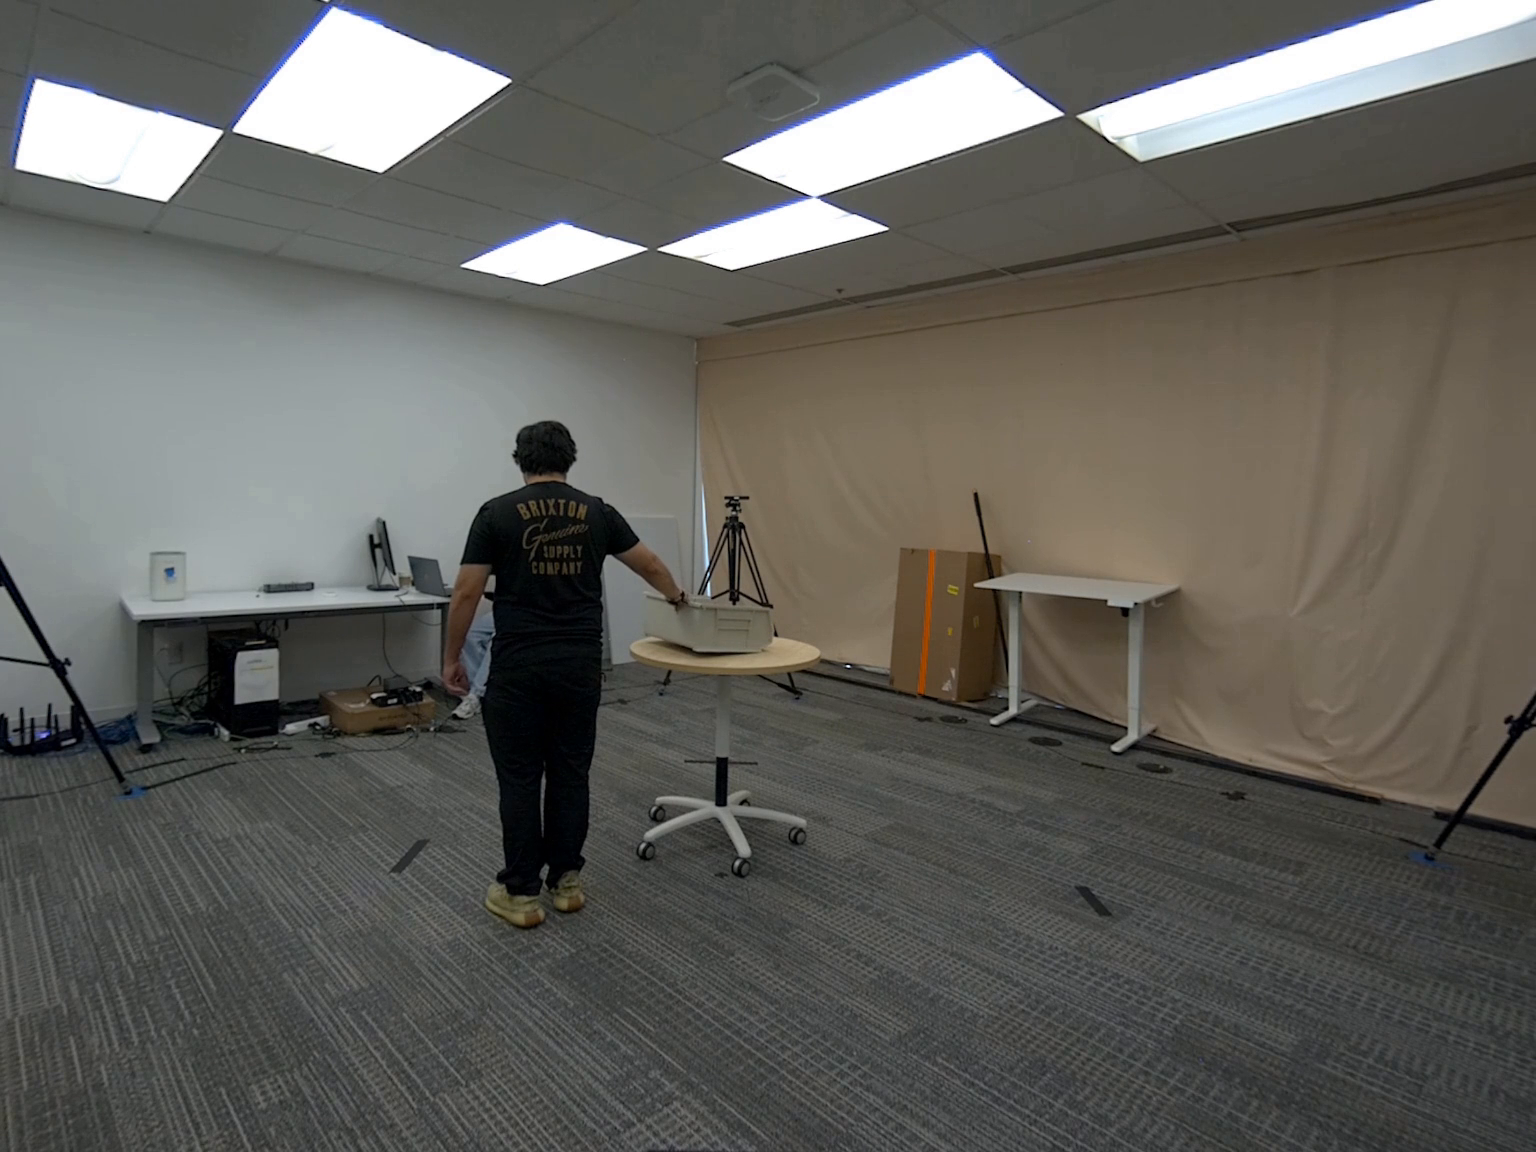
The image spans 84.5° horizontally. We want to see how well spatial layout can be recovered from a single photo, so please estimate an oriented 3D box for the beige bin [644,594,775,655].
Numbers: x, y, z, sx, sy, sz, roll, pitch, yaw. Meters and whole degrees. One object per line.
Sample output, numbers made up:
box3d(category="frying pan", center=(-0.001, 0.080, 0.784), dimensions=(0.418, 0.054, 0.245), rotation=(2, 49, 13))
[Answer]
box3d(category="beige bin", center=(-0.251, 0.186, 3.414), dimensions=(0.368, 0.188, 0.433), rotation=(3, 5, -38))
